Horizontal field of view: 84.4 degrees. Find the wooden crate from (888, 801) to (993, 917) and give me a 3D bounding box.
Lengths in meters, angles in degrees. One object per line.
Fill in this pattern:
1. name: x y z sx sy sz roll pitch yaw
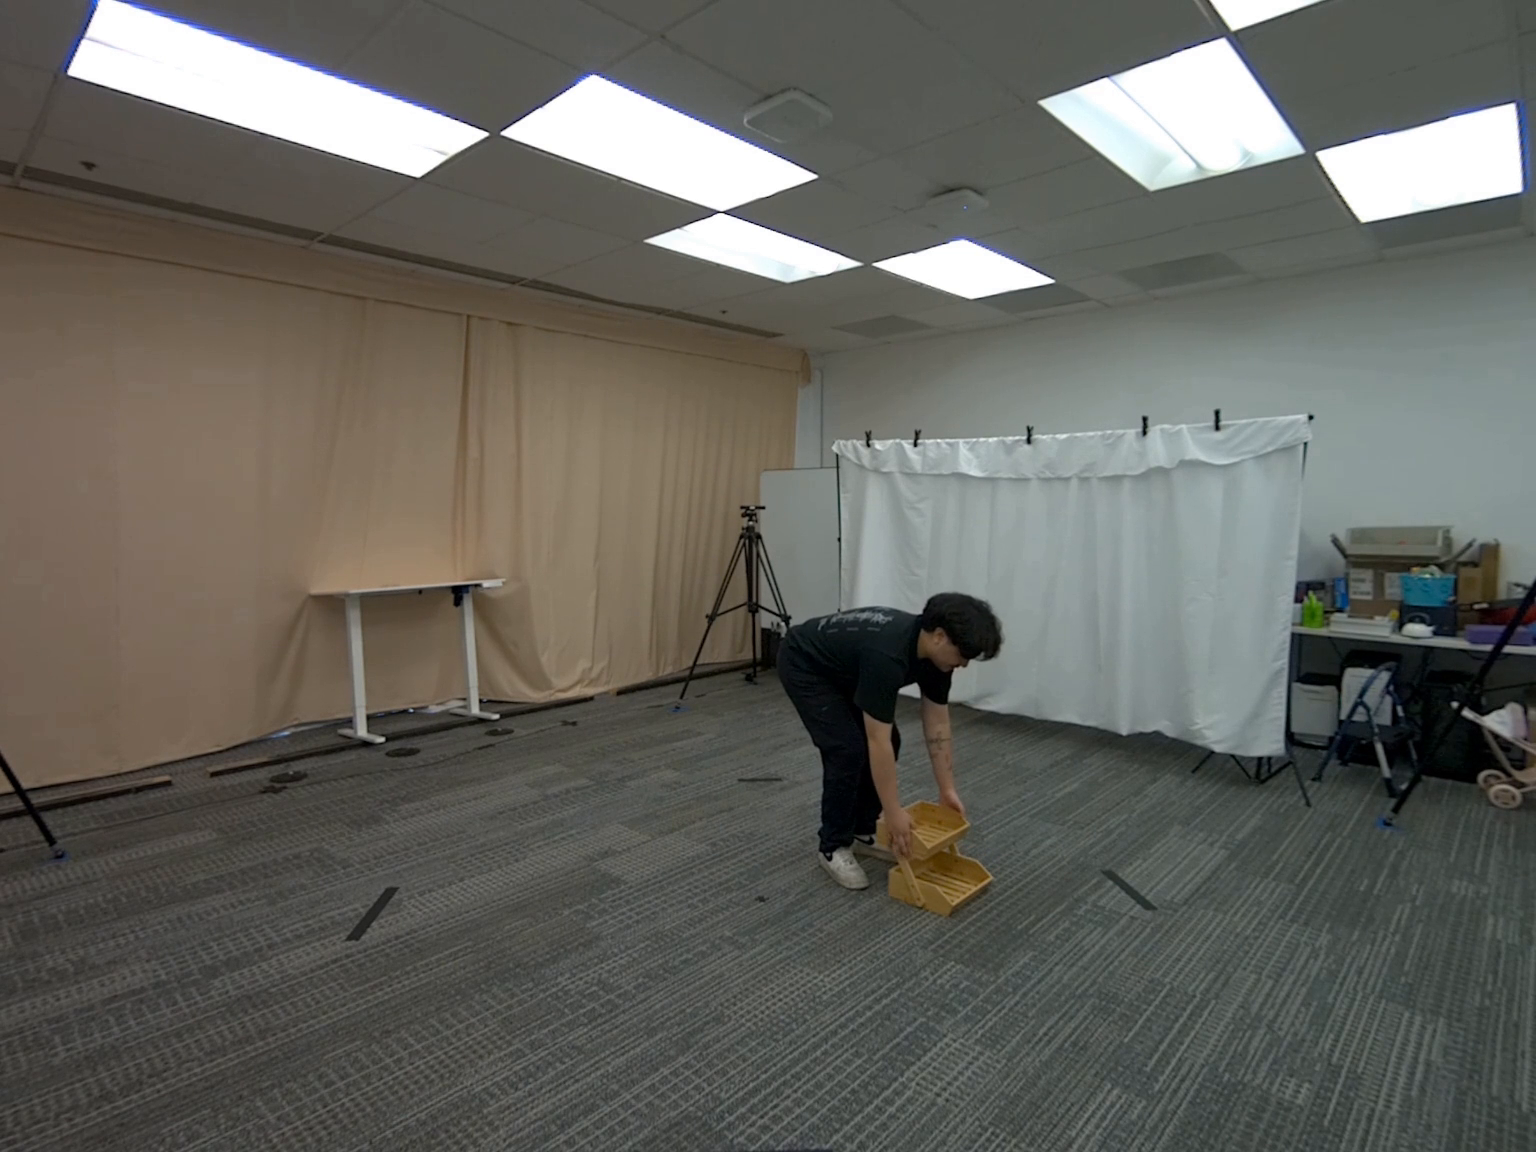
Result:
1. wooden crate: 0.609 1.002 3.027 0.312 0.273 0.314 2 4 41
